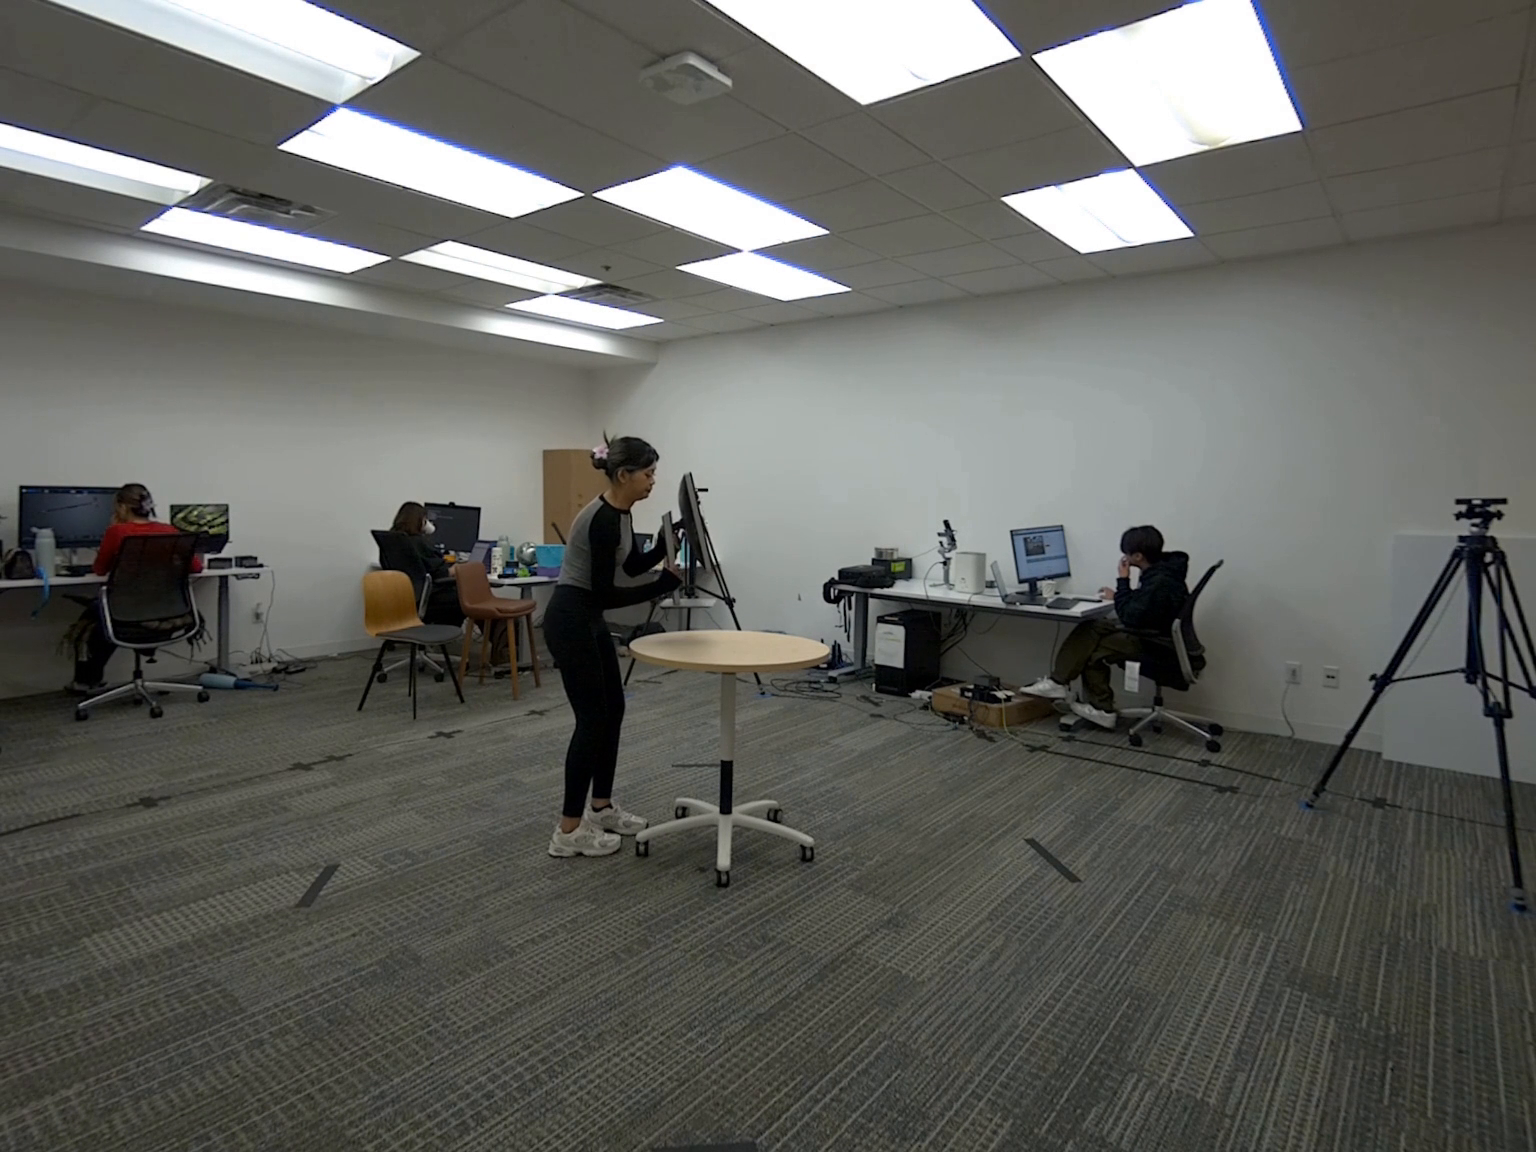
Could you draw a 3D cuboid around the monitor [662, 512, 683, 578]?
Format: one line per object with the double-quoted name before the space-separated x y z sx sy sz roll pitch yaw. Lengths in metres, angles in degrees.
"monitor" -0.335 -0.130 3.312 0.186 0.522 0.544 -1 2 -9
